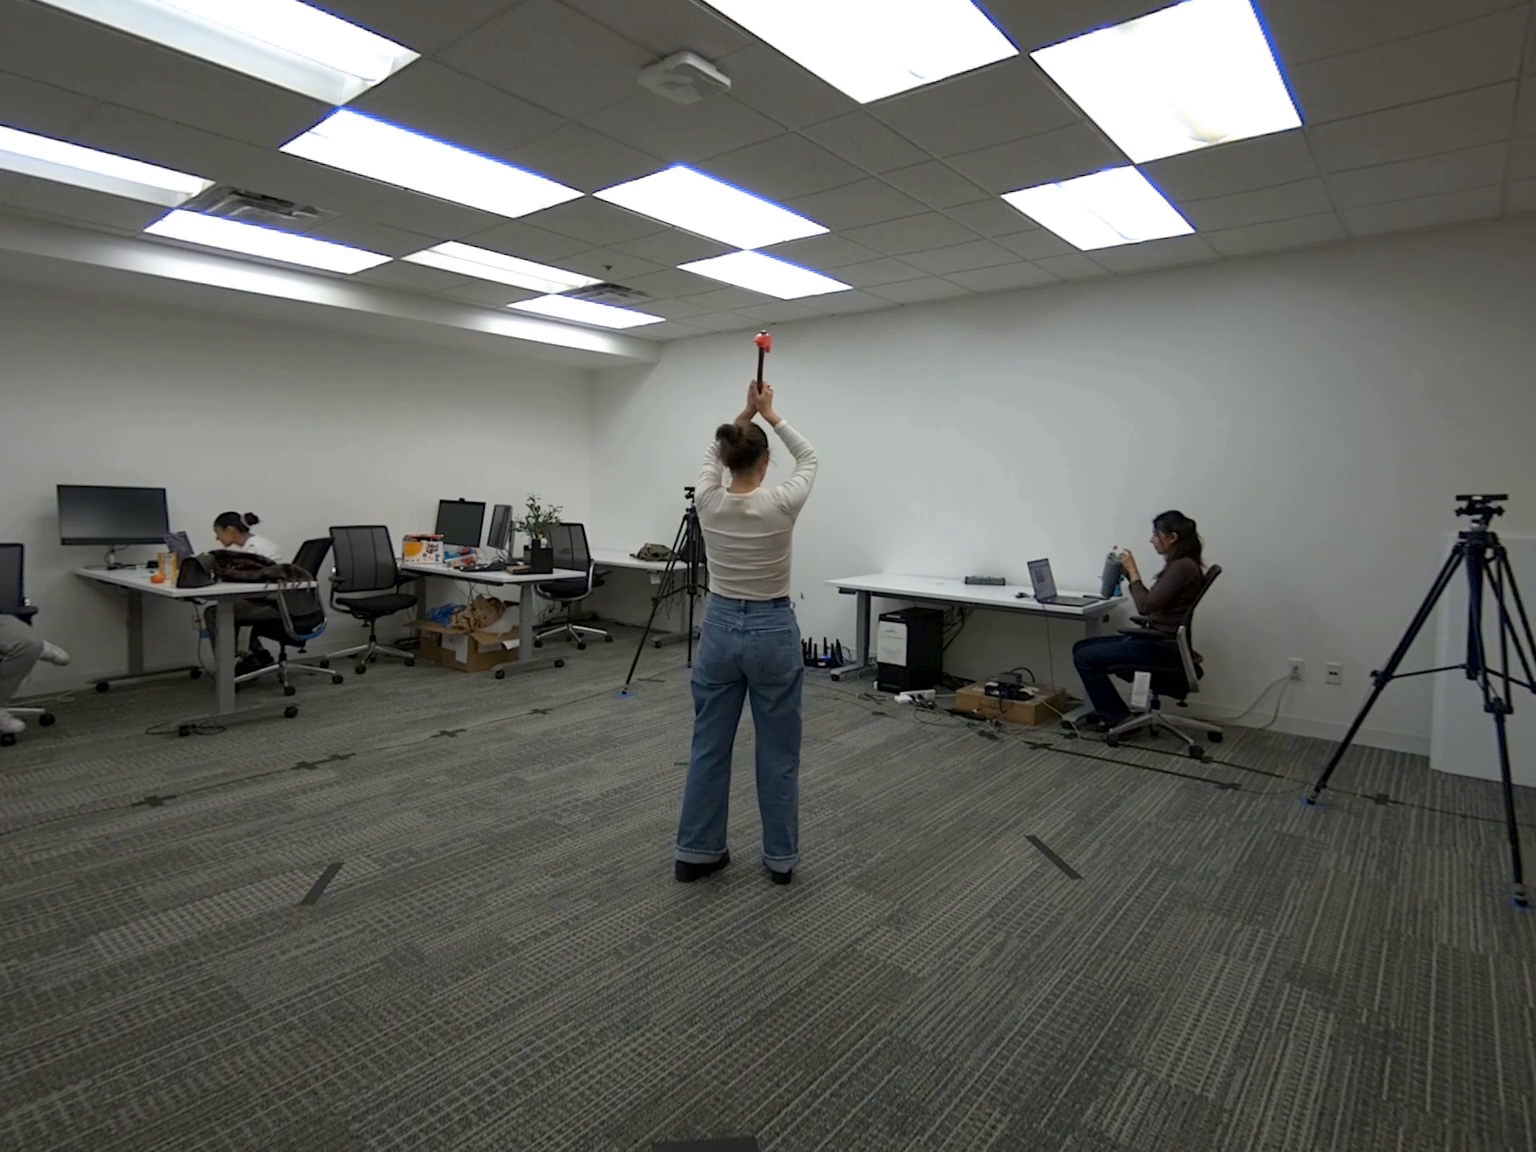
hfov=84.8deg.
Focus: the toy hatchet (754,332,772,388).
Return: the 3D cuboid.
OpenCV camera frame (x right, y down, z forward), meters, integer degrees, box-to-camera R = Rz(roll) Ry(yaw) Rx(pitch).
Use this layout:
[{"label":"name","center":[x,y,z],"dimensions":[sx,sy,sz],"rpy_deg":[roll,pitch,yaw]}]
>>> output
[{"label":"toy hatchet","center":[-0.032,-0.762,3.085],"dimensions":[0.030,0.262,0.131],"rpy_deg":[14,40,19]}]
